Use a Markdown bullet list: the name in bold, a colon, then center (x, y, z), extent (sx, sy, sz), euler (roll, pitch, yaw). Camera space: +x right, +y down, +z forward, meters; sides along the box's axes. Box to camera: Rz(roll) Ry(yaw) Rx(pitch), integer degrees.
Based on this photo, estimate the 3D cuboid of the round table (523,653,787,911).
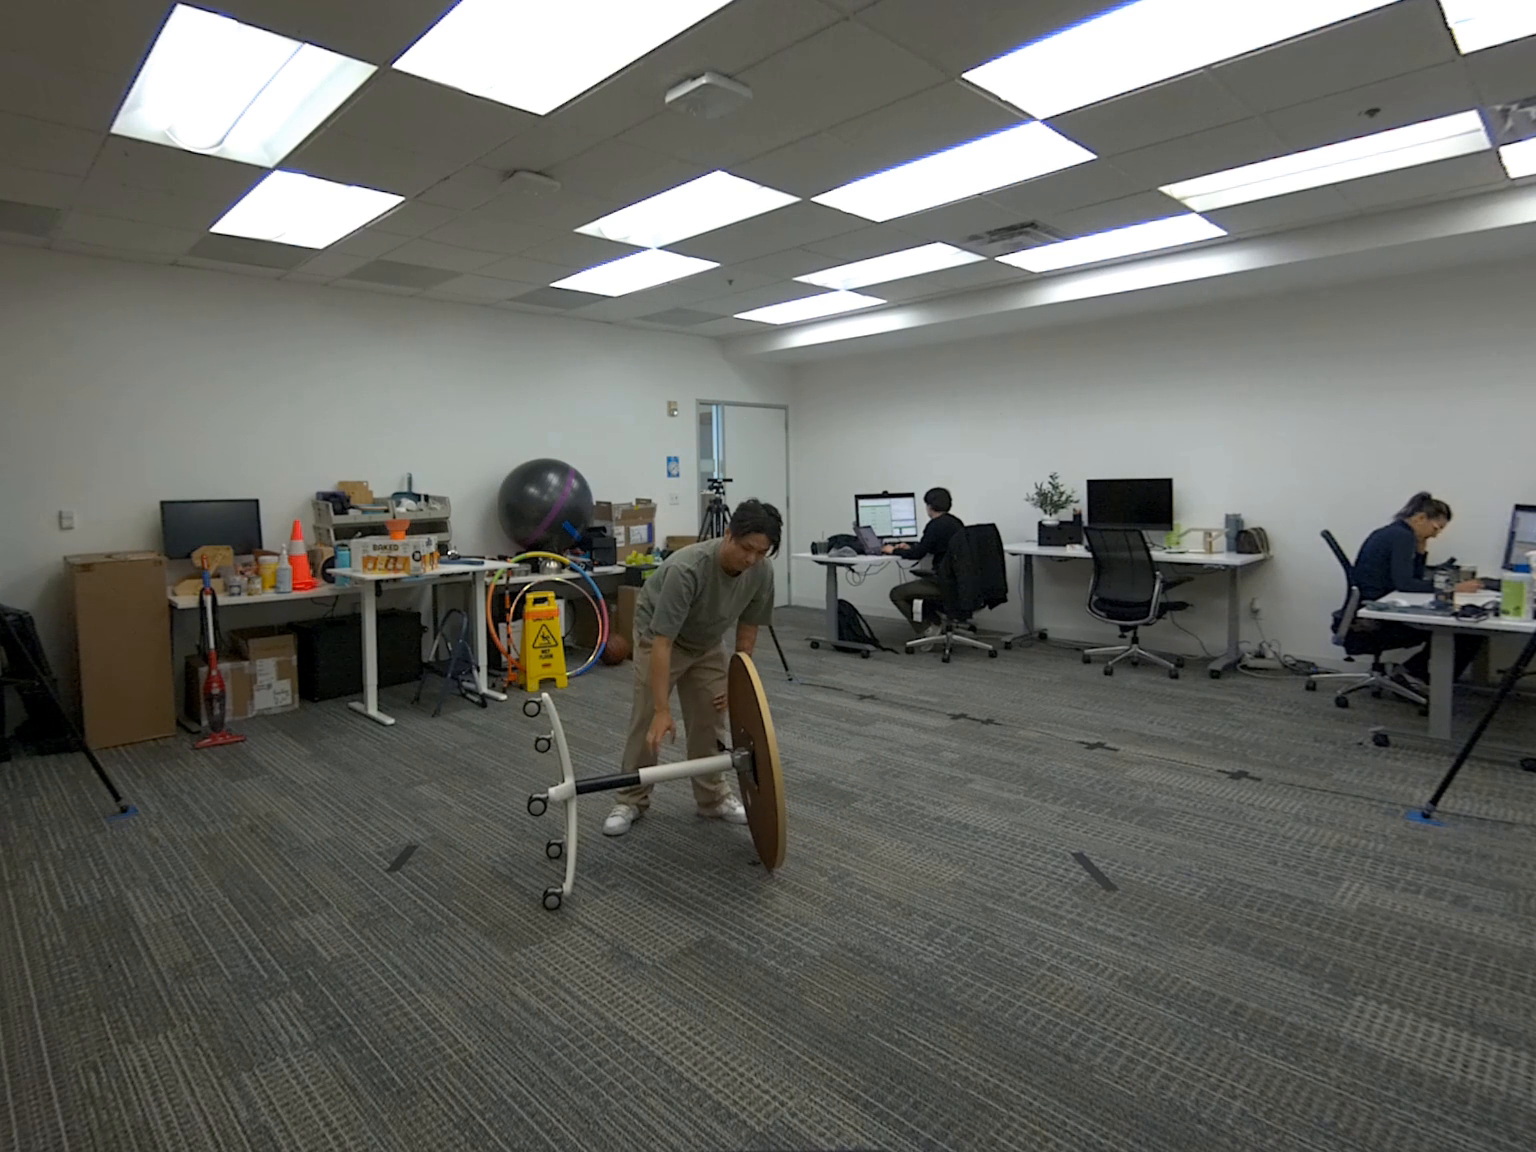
- **round table**: center (-0.424, 0.722, 3.049), extent (0.779, 0.781, 0.797), euler (-8, 6, -12)
